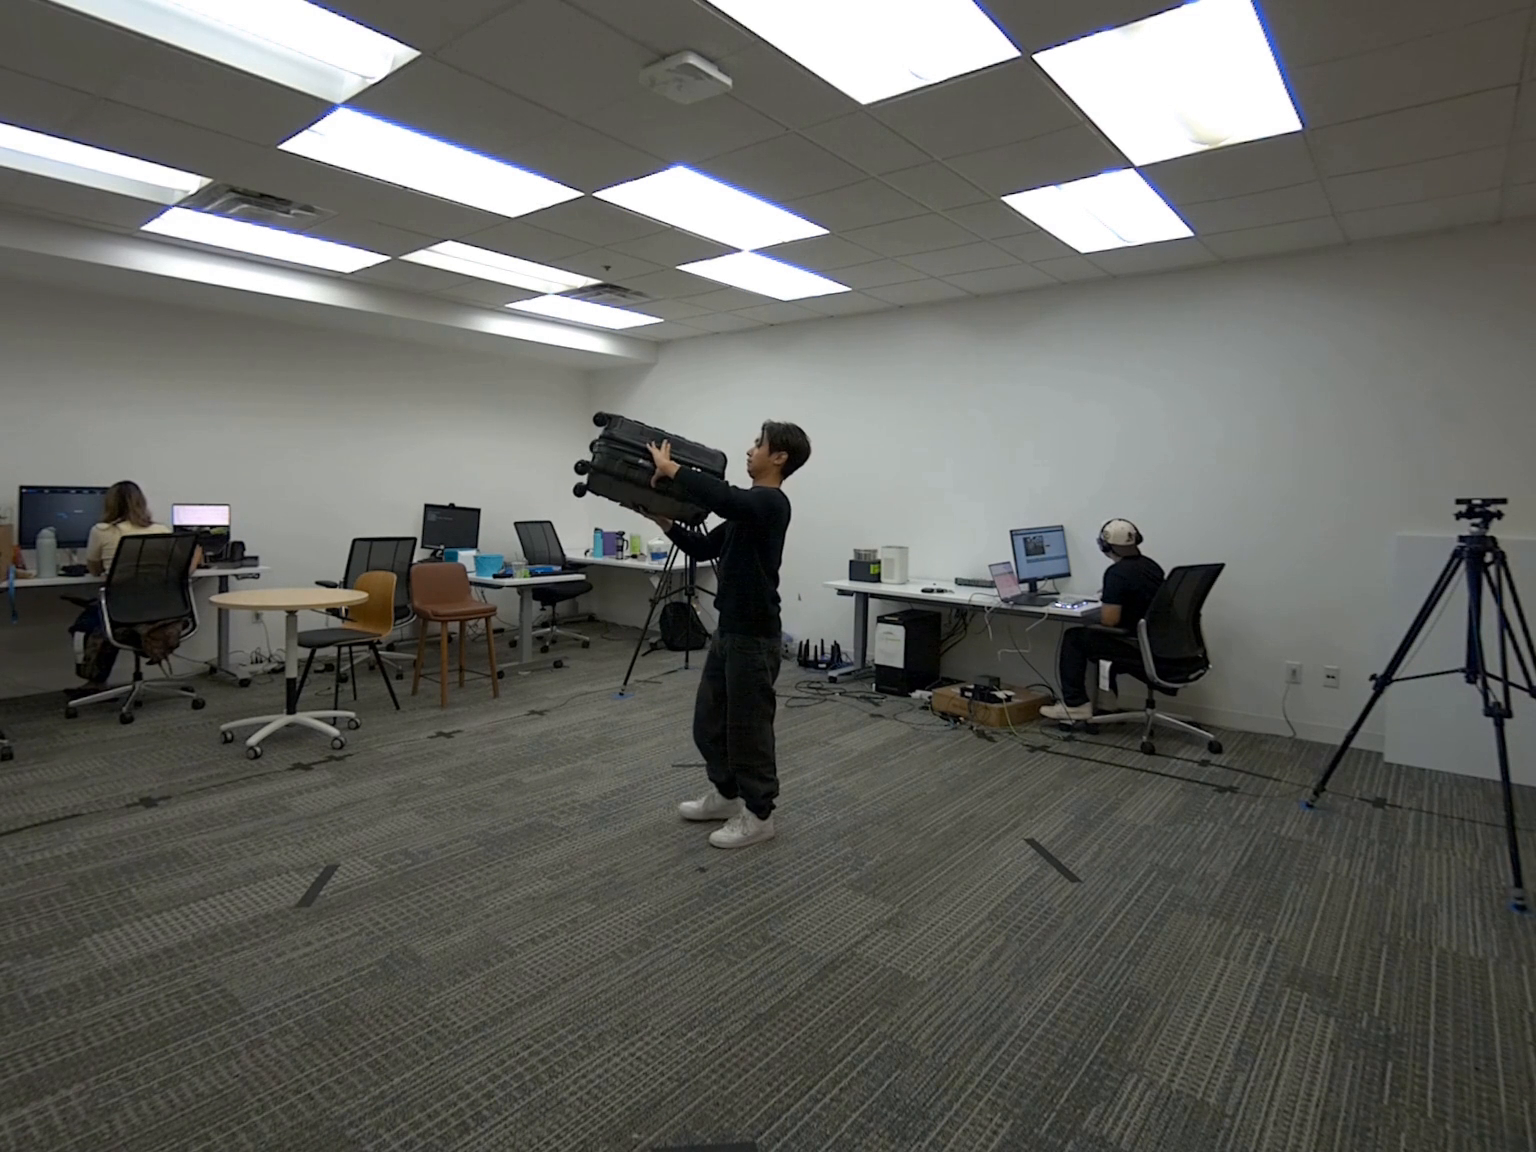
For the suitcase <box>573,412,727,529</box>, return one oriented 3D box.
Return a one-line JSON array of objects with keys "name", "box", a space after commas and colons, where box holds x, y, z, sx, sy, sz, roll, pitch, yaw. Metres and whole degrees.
[{"name": "suitcase", "box": [-0.467, -0.409, 3.304, 0.545, 0.251, 0.374, 17, -16, -7]}]
